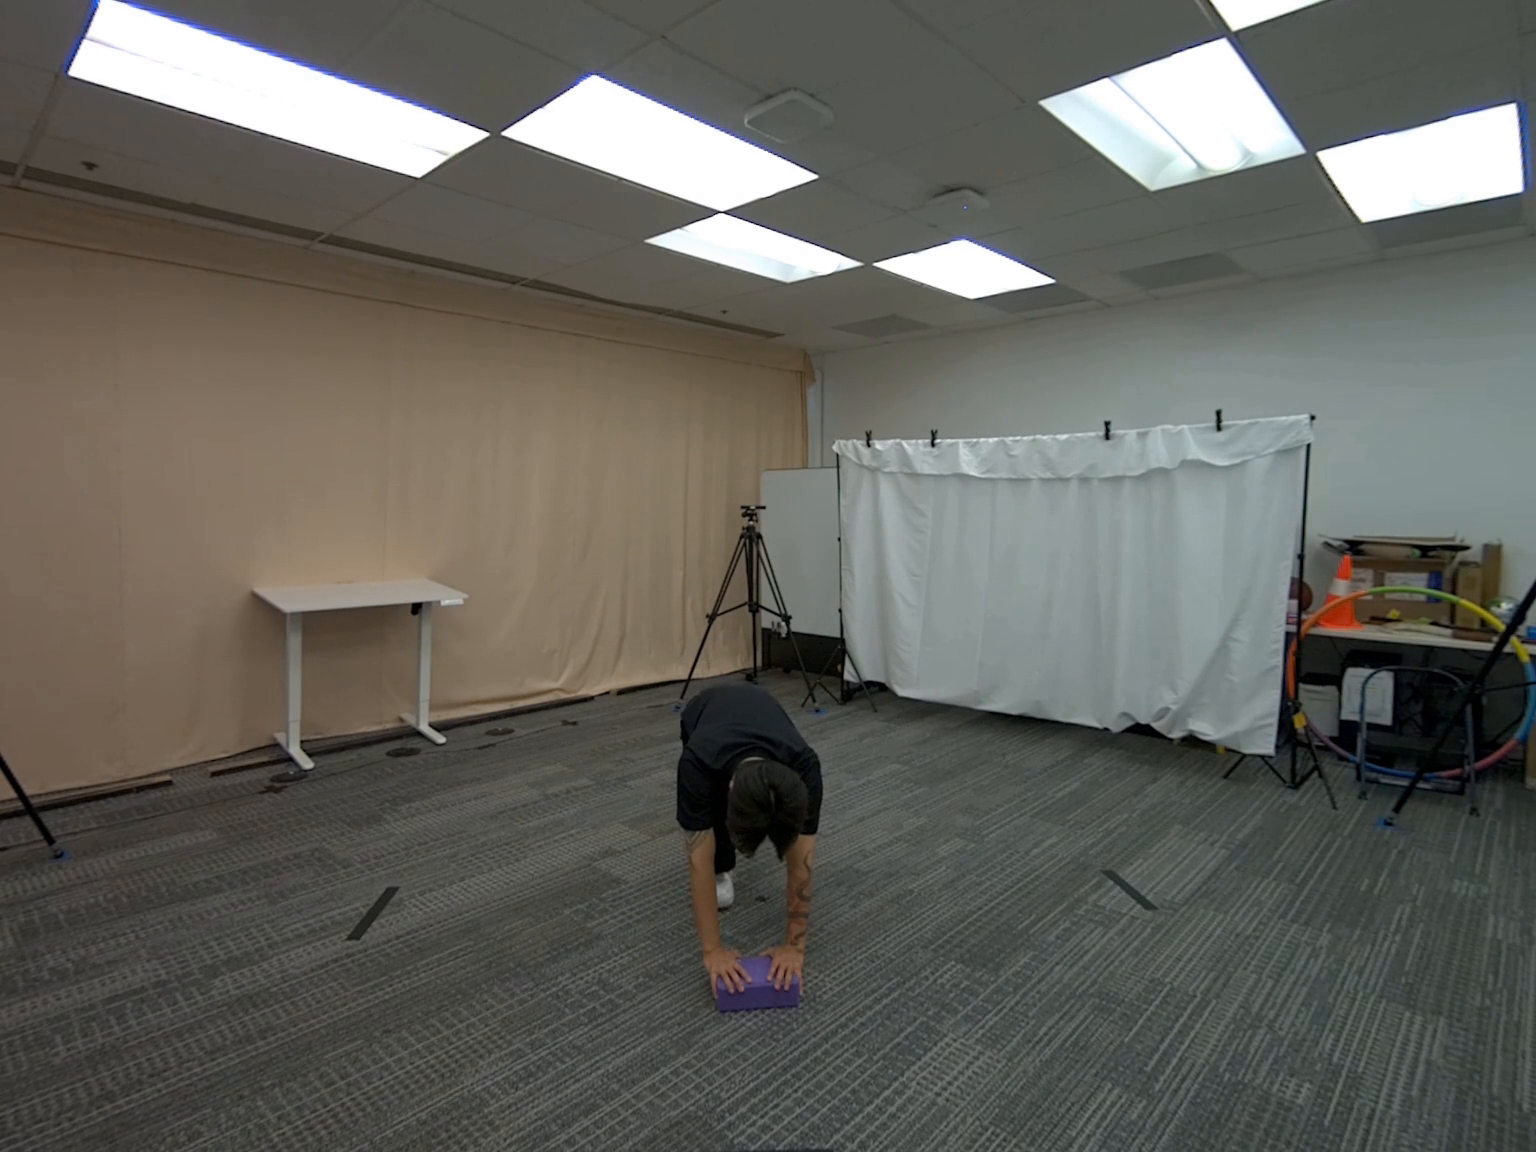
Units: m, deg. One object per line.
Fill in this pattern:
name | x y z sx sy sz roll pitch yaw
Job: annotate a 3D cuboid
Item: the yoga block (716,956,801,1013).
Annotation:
yoga block | -0.038 1.153 2.396 0.228 0.076 0.150 1 6 -6
